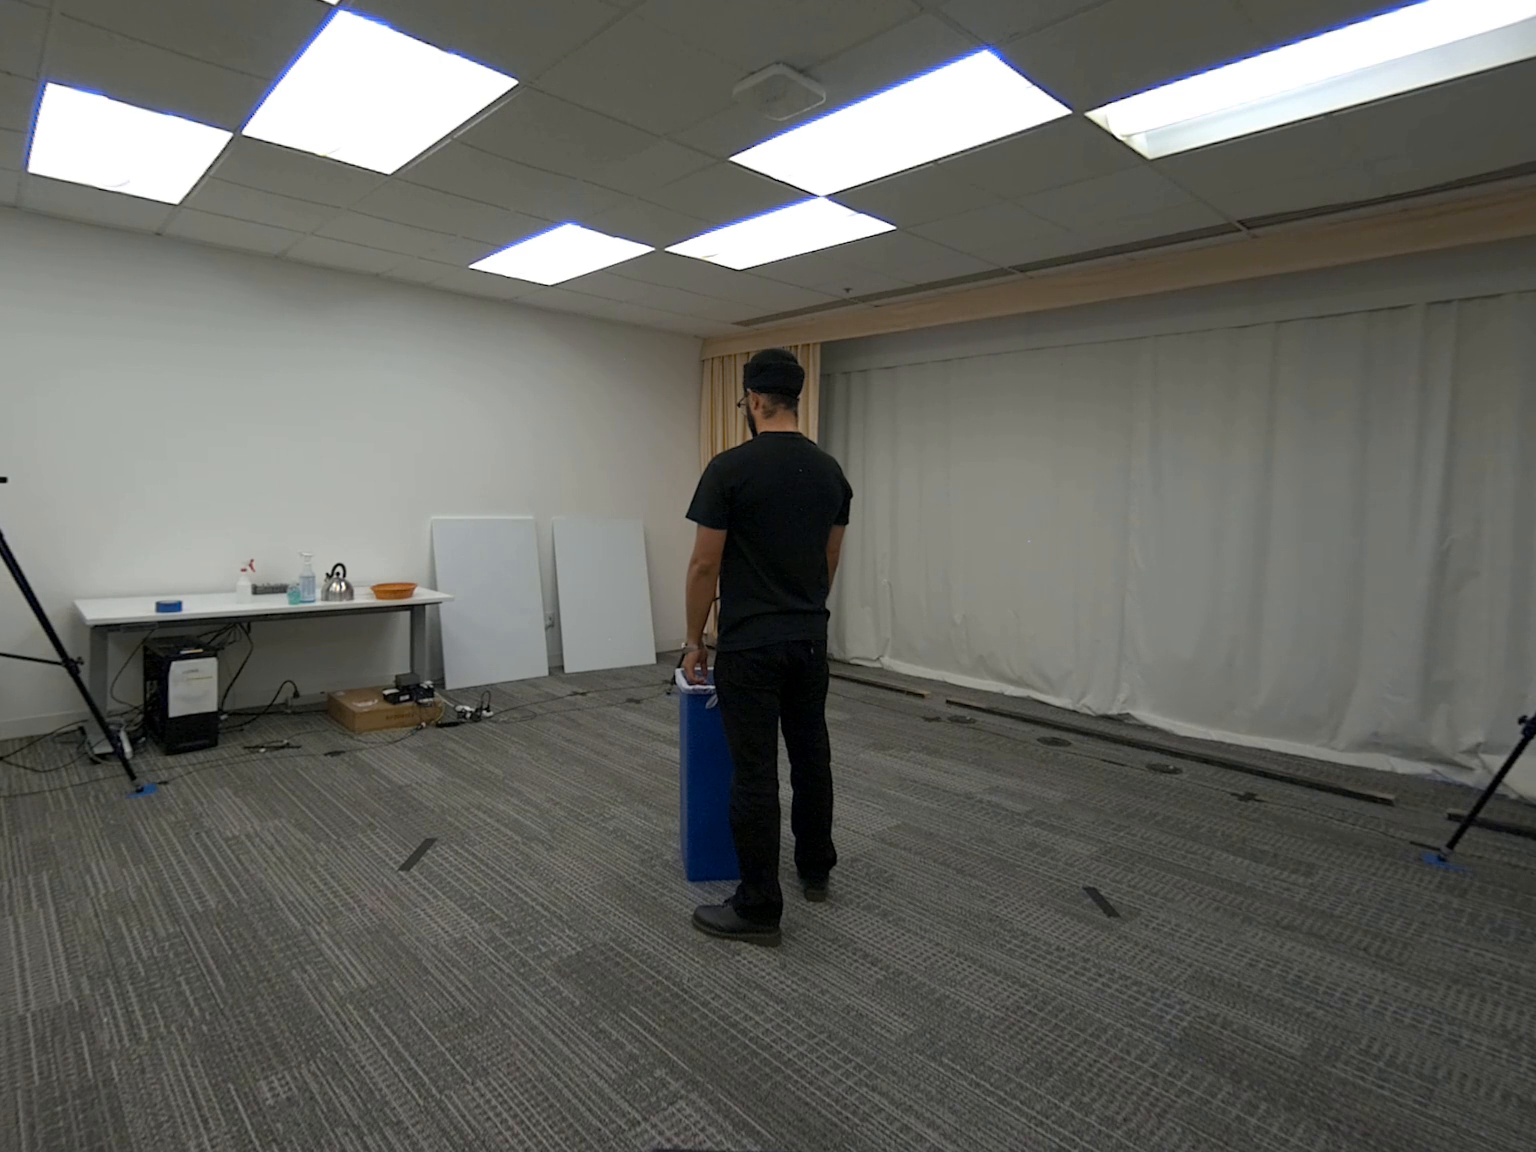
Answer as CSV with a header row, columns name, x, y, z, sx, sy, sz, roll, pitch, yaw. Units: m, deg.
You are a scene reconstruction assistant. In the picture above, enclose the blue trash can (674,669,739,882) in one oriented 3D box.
name,x,y,z,sx,sy,sz,roll,pitch,yaw
blue trash can,-0.161,0.734,3.182,0.375,0.712,0.377,1,2,-10
